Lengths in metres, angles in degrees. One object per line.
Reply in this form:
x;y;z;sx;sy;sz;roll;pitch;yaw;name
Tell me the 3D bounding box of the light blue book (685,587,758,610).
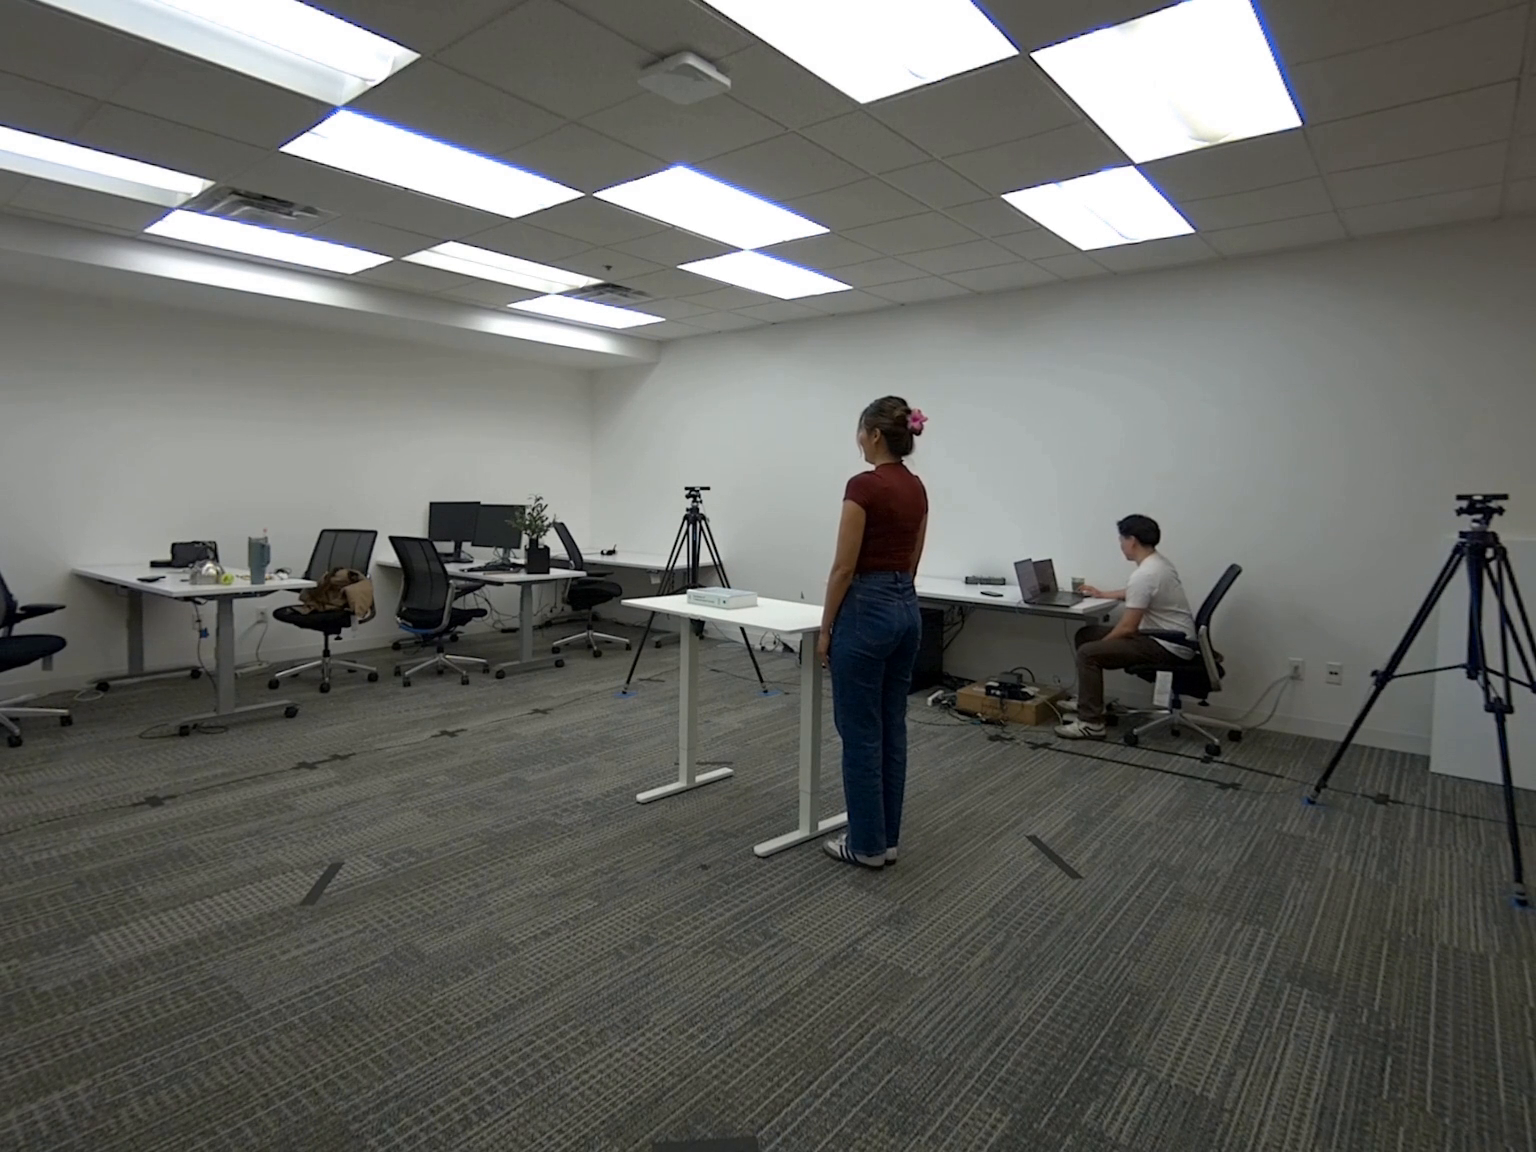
-0.209;0.094;3.742;0.270;0.059;0.186;6;8;43;light blue book
